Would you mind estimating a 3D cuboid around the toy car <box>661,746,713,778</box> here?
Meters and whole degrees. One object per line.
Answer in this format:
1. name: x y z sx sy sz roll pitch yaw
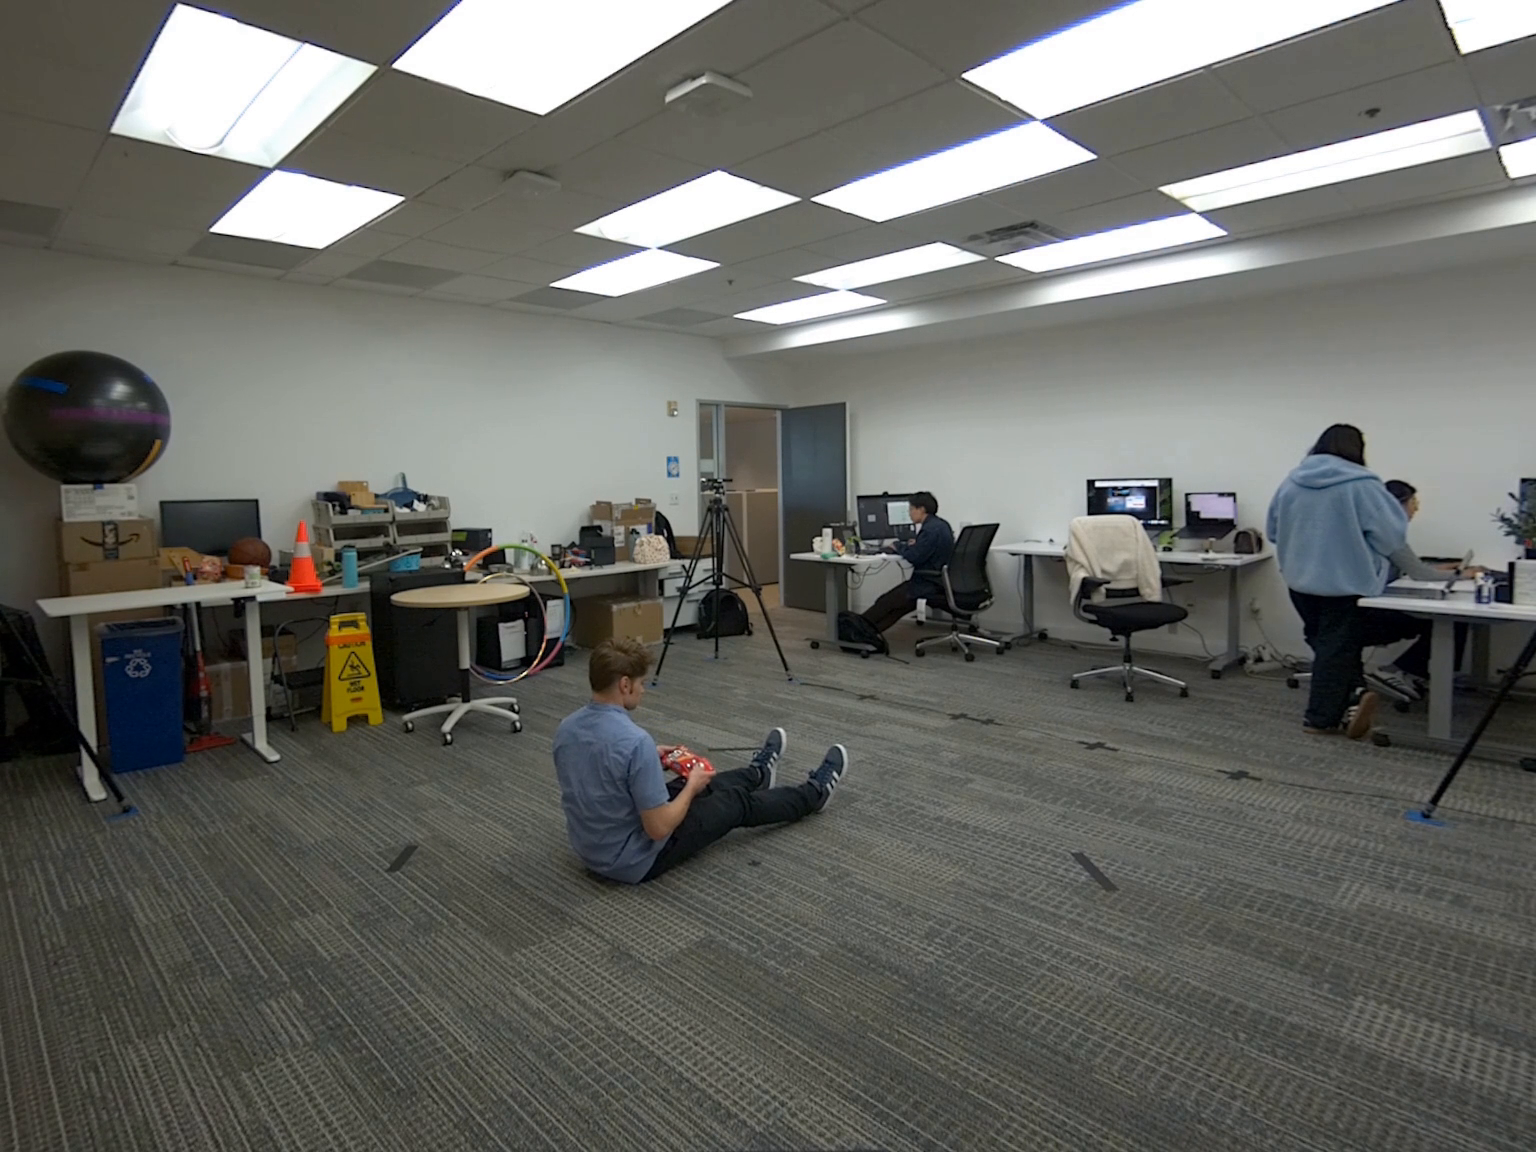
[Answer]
1. toy car: -0.305 0.727 3.282 0.129 0.082 0.262 -30 19 -31
